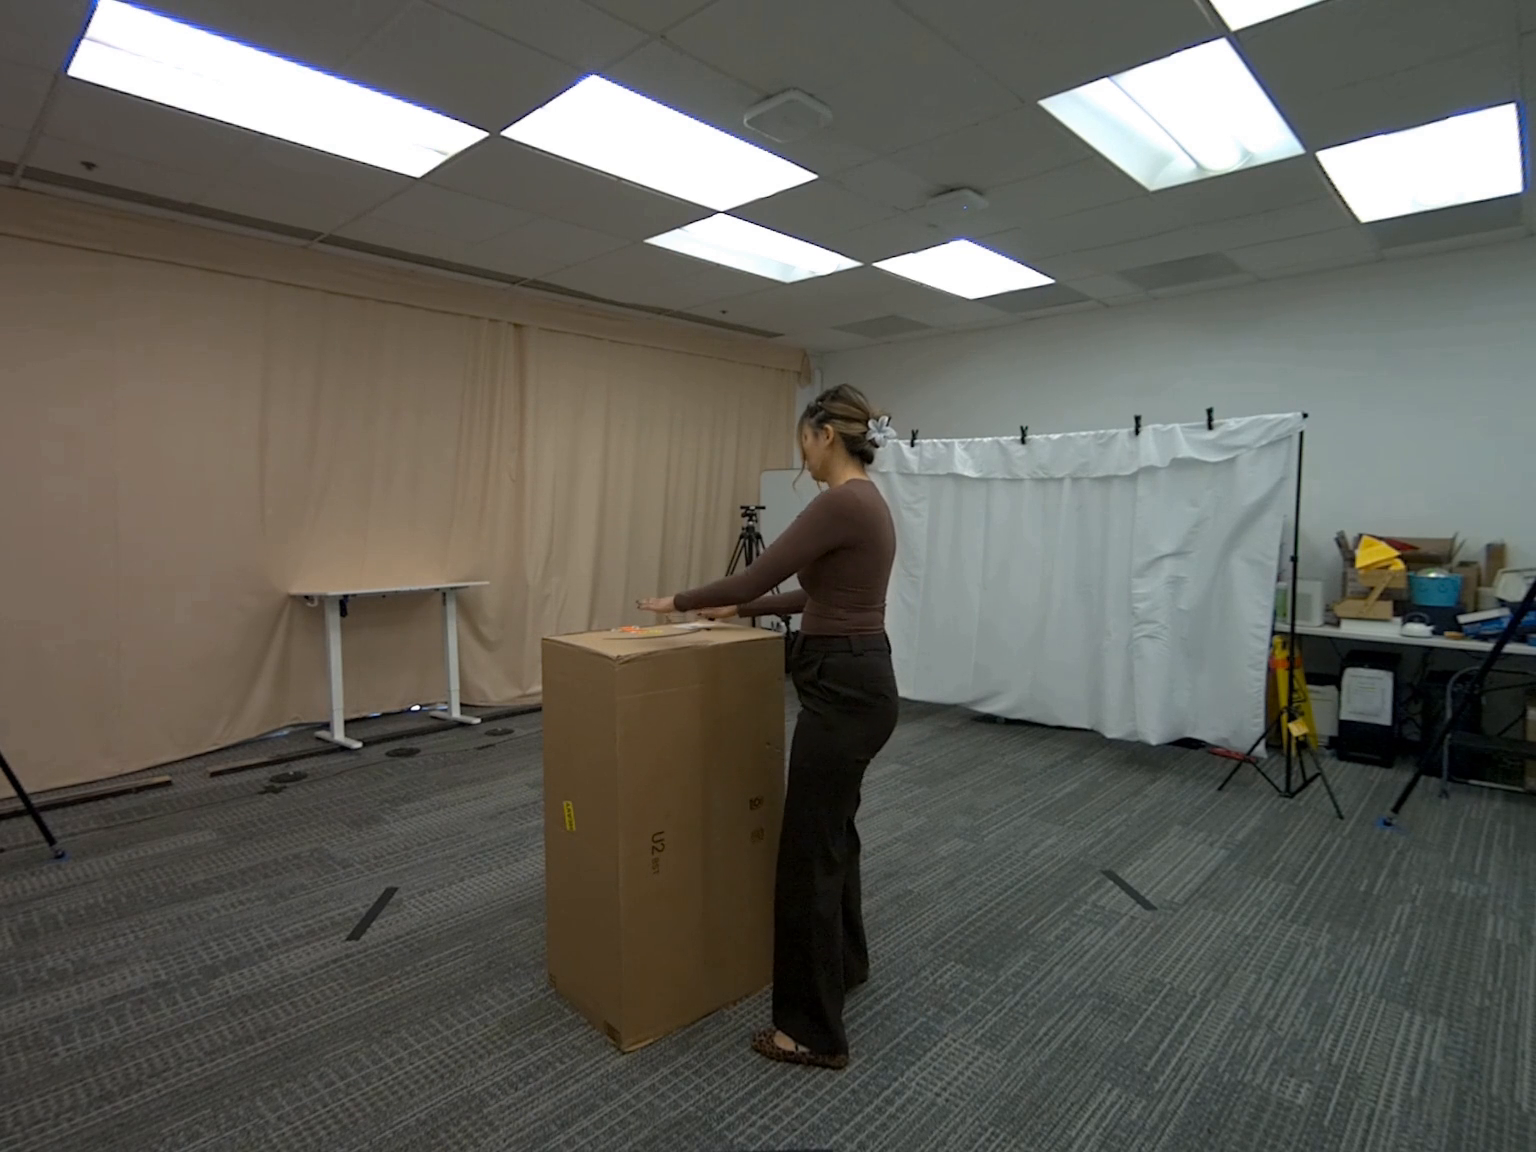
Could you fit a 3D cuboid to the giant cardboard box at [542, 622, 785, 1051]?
[{"bbox_3d":[-0.298,0.678,2.455,0.566,1.025,0.461,-2,3,-39],"label":"giant cardboard box"}]
